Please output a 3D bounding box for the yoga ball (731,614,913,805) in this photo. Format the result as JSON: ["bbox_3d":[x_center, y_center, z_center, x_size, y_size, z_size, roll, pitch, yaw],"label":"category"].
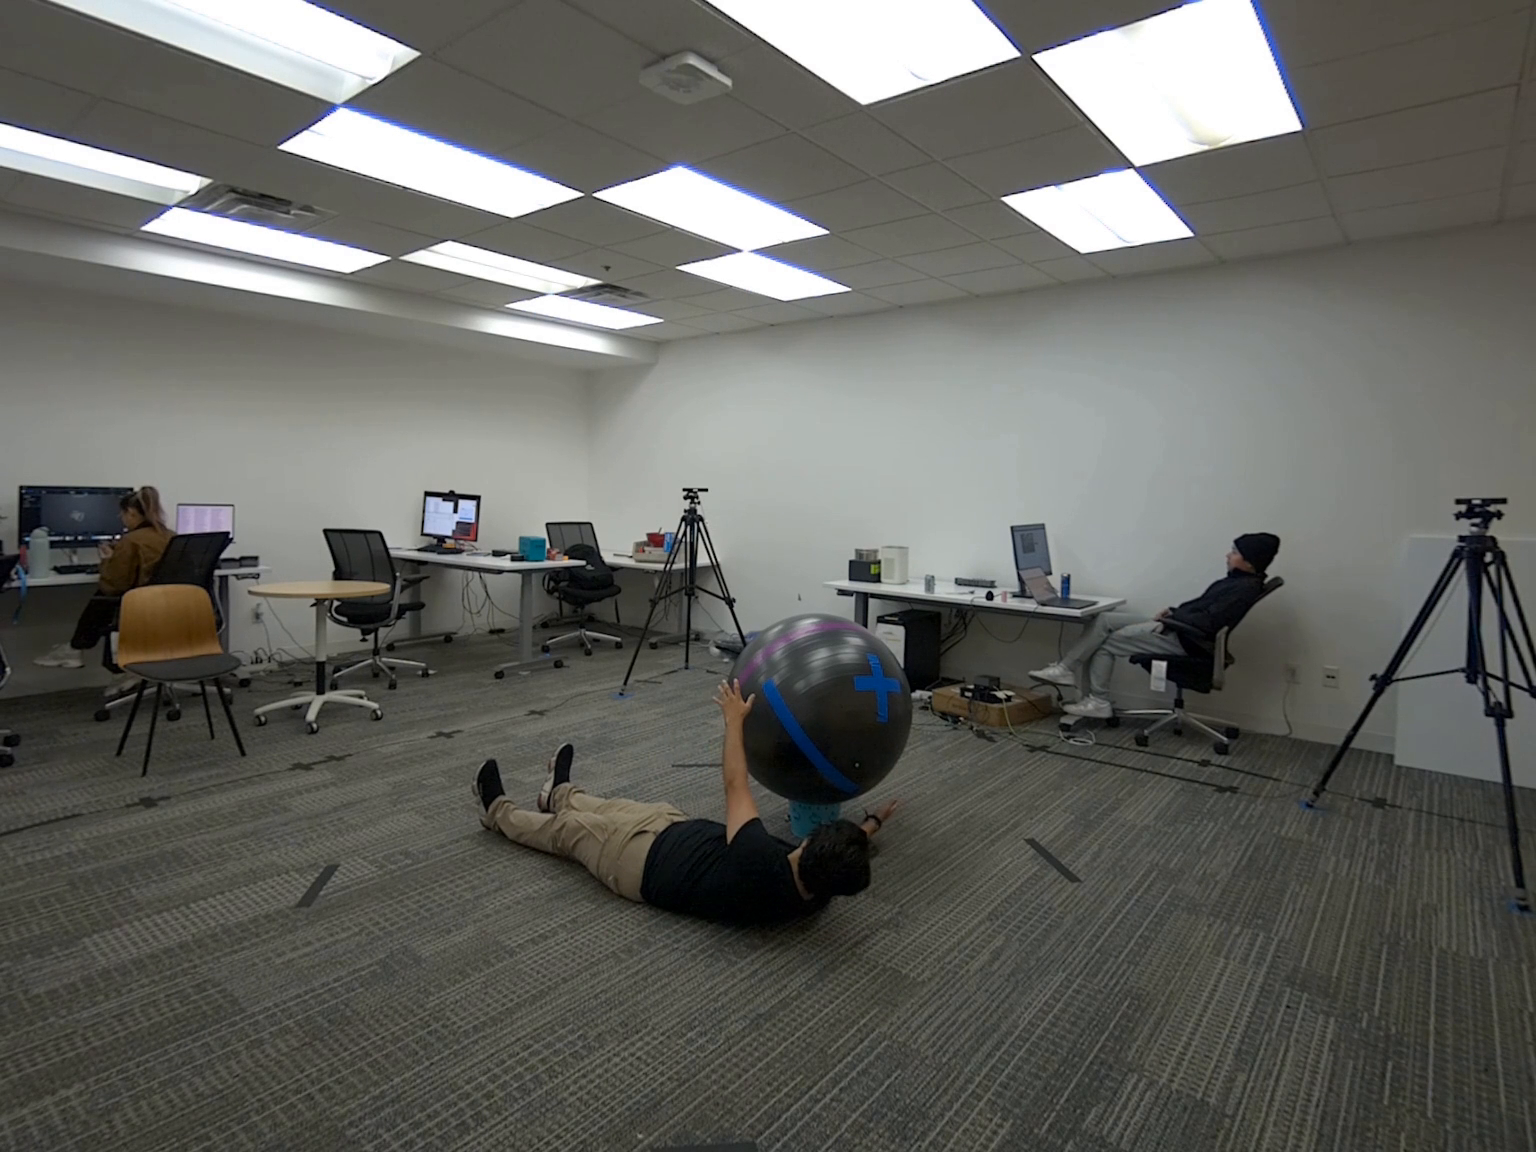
[{"bbox_3d":[0.192,0.533,3.459,0.757,0.756,0.761,0,4,-2],"label":"yoga ball"}]
